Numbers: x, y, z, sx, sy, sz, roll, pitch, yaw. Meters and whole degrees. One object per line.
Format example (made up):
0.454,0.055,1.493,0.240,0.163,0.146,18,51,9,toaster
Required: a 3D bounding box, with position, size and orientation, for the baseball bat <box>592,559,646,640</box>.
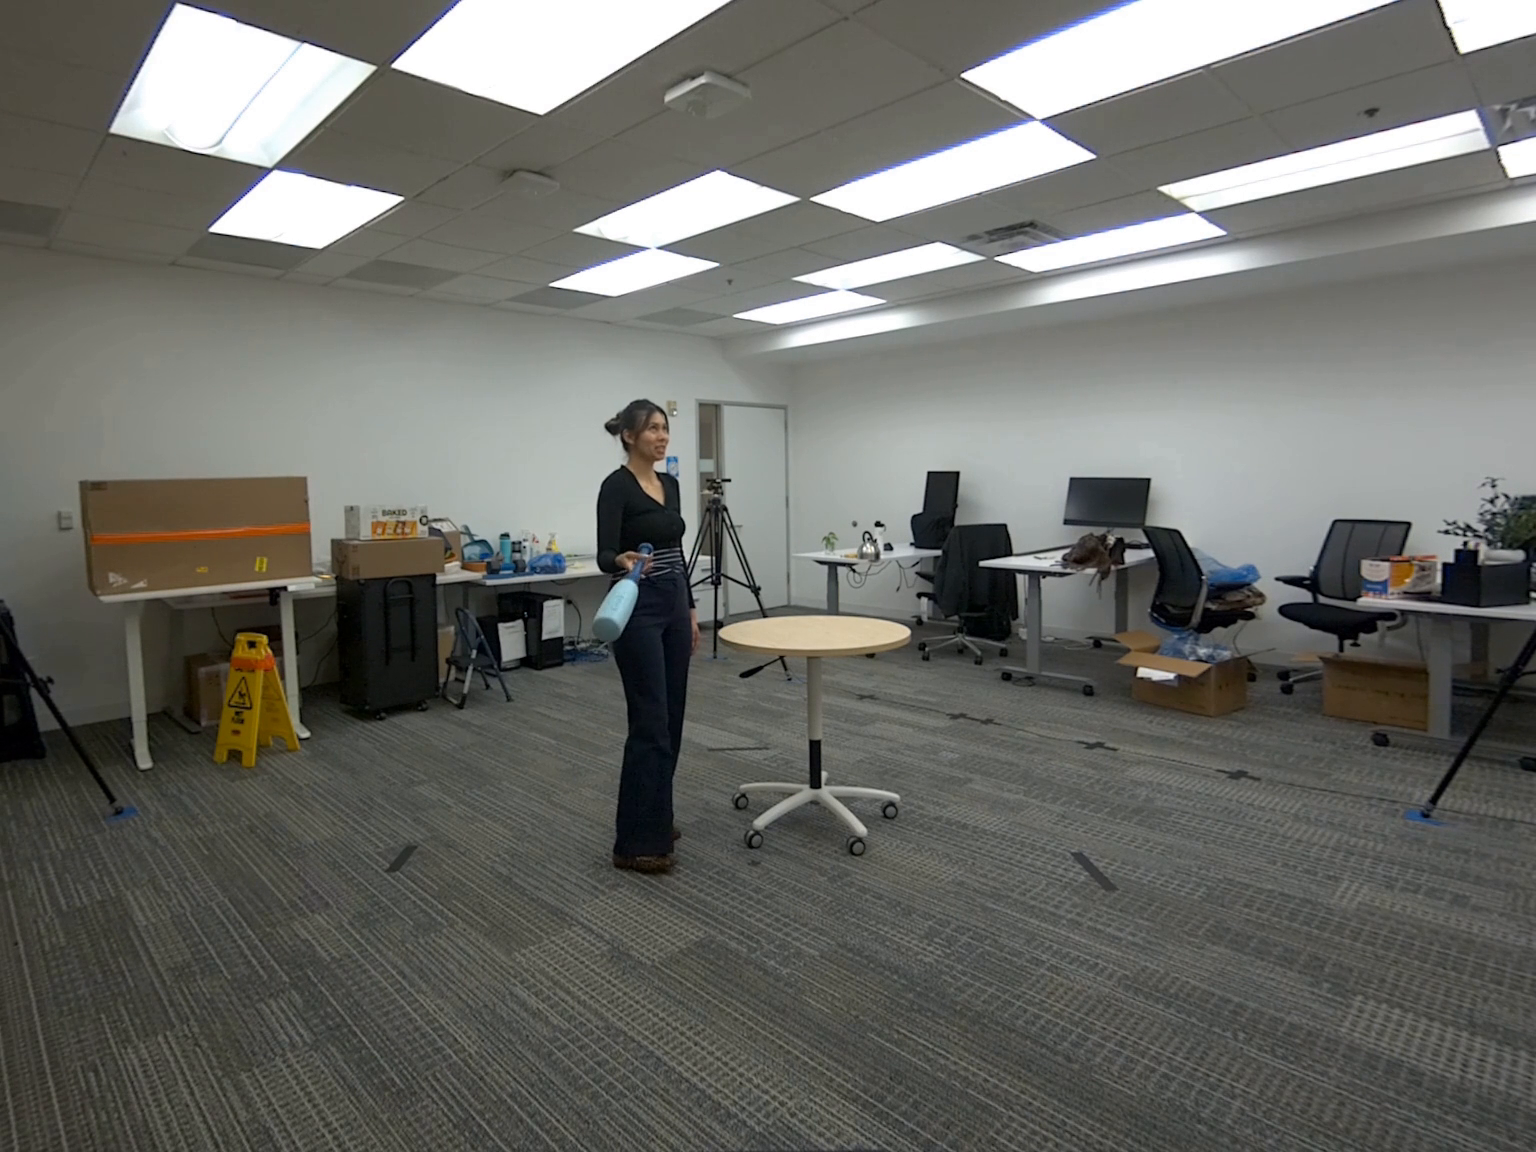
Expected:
-0.426,0.003,2.595,0.089,0.087,0.551,-1,23,3,baseball bat
